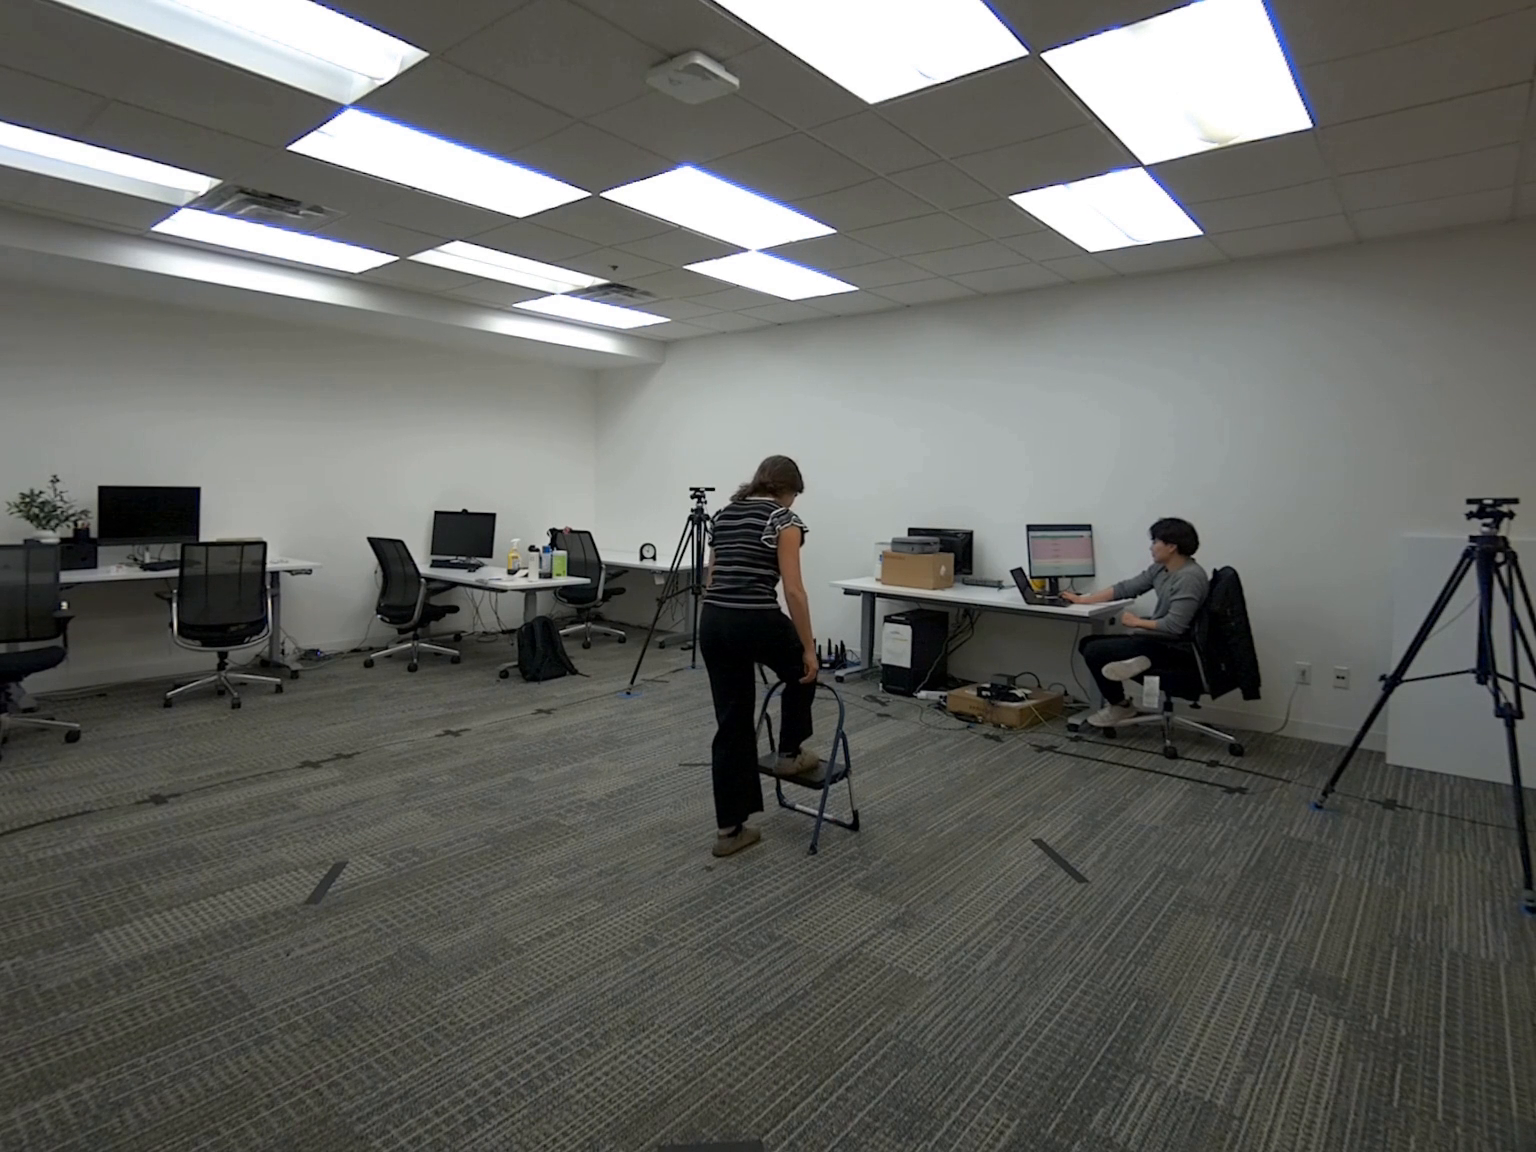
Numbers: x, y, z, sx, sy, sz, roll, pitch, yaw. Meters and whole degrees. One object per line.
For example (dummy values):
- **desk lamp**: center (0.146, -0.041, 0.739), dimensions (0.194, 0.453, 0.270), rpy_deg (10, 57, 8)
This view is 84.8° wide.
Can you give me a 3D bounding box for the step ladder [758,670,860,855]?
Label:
- **step ladder**: center (0.114, 0.735, 3.495), dimensions (0.445, 0.604, 0.339), rpy_deg (4, 4, 39)
